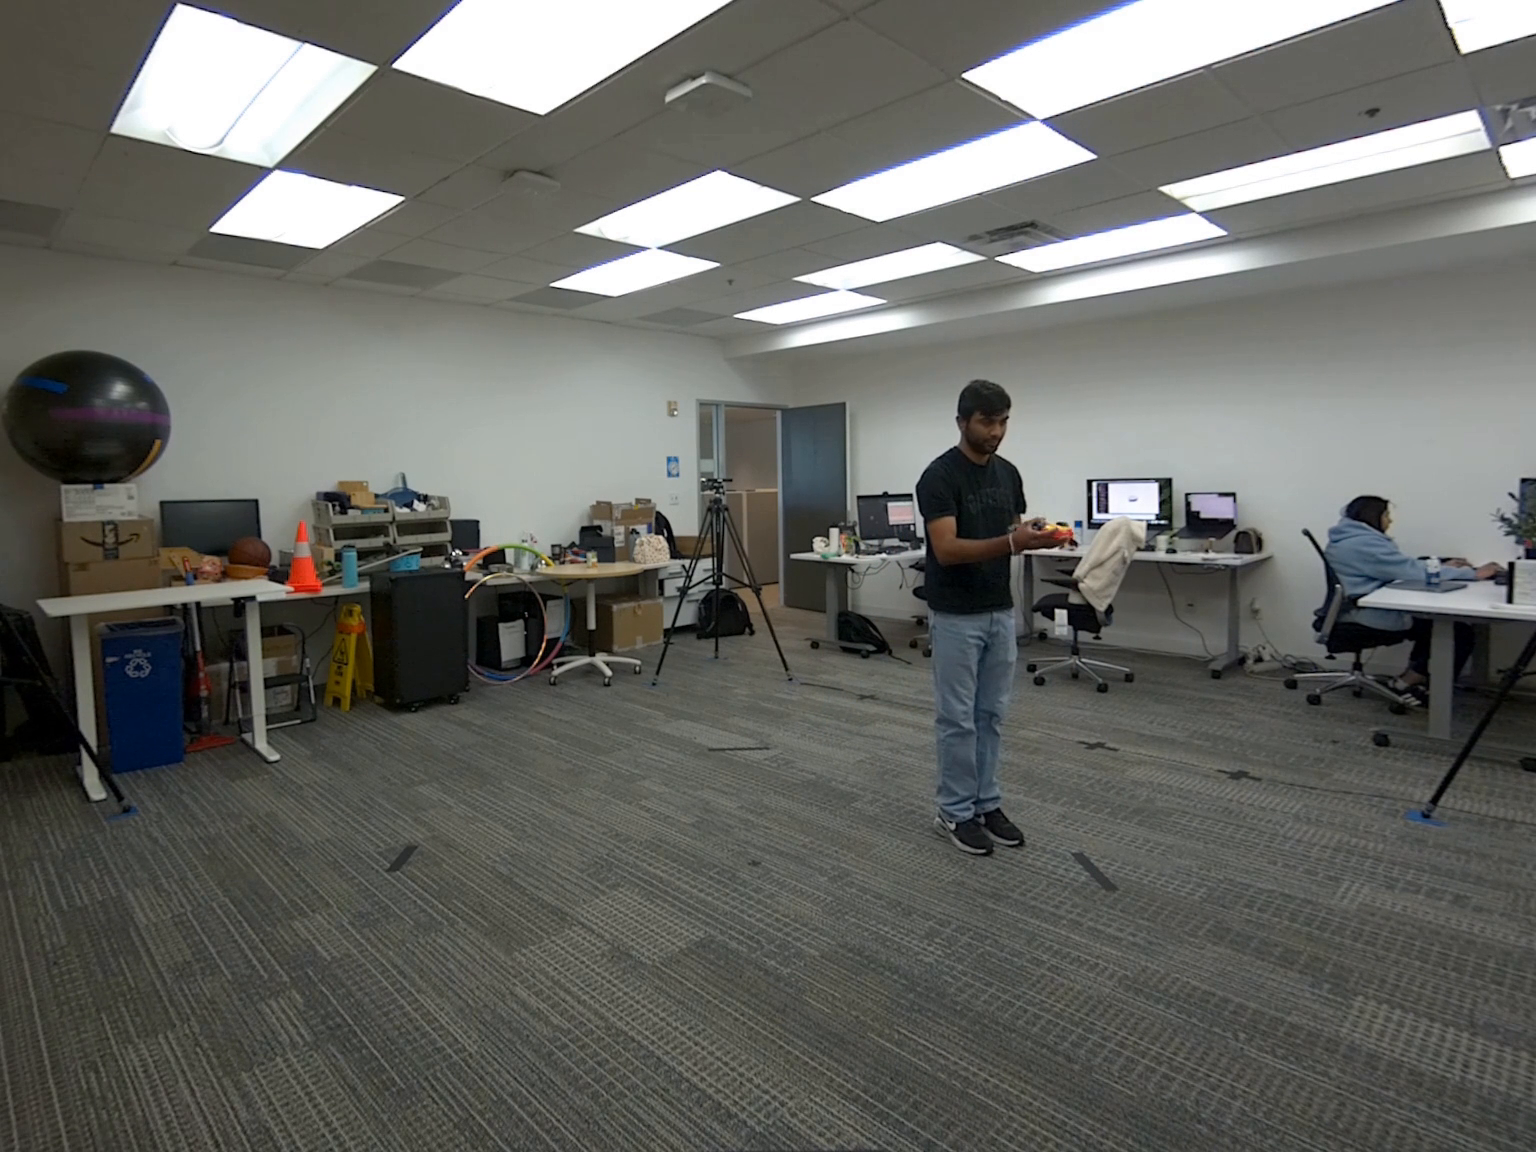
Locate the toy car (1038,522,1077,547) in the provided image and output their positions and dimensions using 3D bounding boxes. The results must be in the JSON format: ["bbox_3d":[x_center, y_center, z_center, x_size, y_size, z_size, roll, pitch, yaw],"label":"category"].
[{"bbox_3d":[0.914,-0.121,2.799,0.132,0.082,0.255,-16,16,21],"label":"toy car"}]
